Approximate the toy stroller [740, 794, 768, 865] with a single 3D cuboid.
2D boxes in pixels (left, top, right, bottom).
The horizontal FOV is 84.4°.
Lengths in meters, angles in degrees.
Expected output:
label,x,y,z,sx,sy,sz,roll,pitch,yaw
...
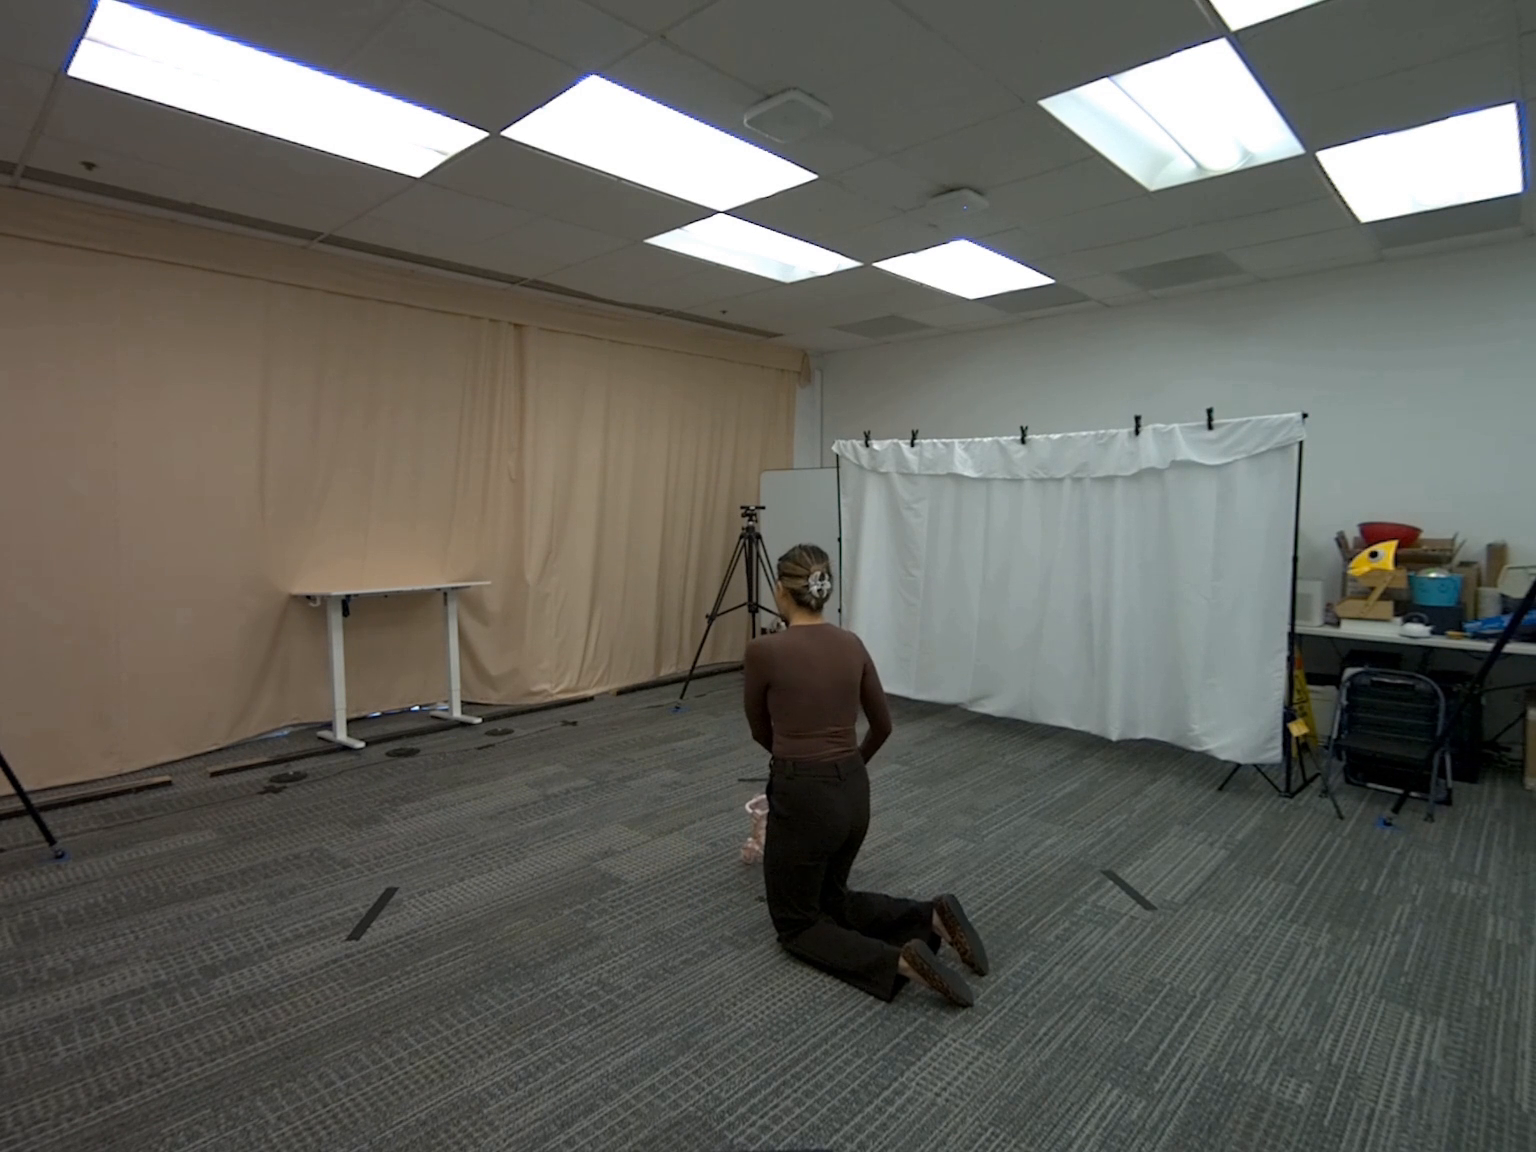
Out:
label,x,y,z,sx,sy,sz,roll,pitch,yaw
toy stroller,0.078,0.905,3.146,0.354,0.532,0.273,25,18,39
